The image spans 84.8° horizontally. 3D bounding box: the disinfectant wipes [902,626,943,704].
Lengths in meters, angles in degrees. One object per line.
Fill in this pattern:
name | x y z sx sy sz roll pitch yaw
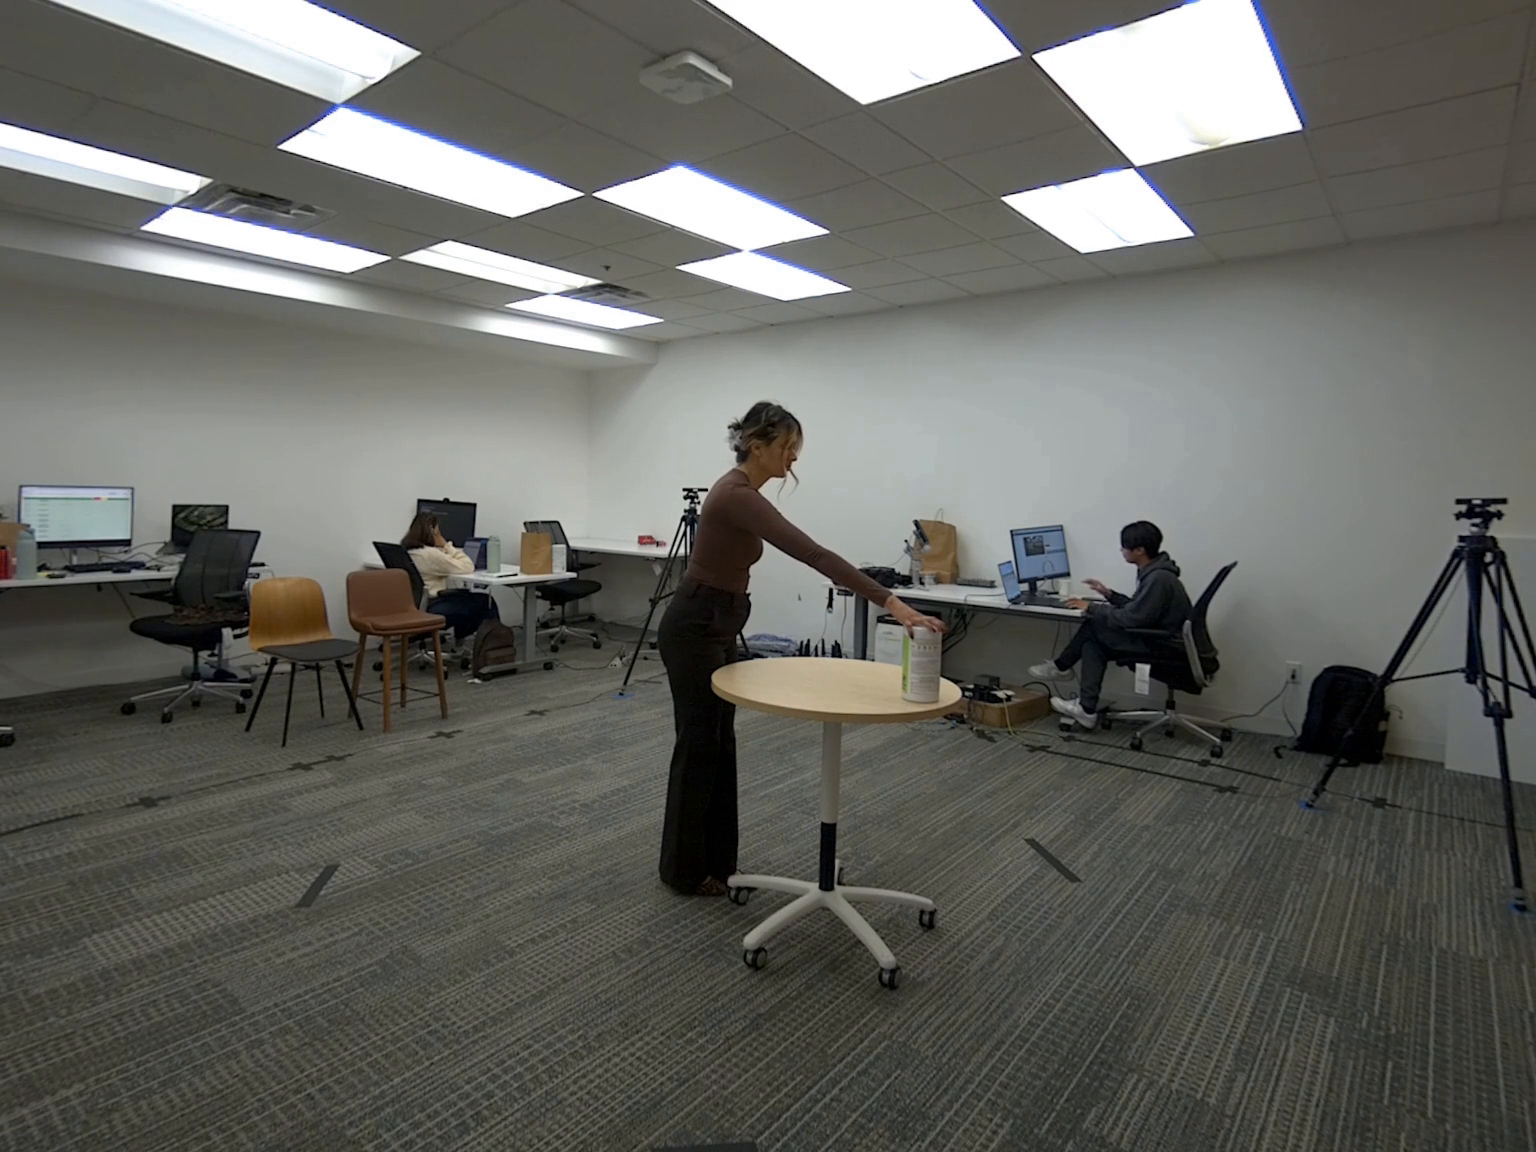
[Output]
disinfectant wipes | 0.440 0.248 2.458 0.118 0.217 0.118 1 3 -2
